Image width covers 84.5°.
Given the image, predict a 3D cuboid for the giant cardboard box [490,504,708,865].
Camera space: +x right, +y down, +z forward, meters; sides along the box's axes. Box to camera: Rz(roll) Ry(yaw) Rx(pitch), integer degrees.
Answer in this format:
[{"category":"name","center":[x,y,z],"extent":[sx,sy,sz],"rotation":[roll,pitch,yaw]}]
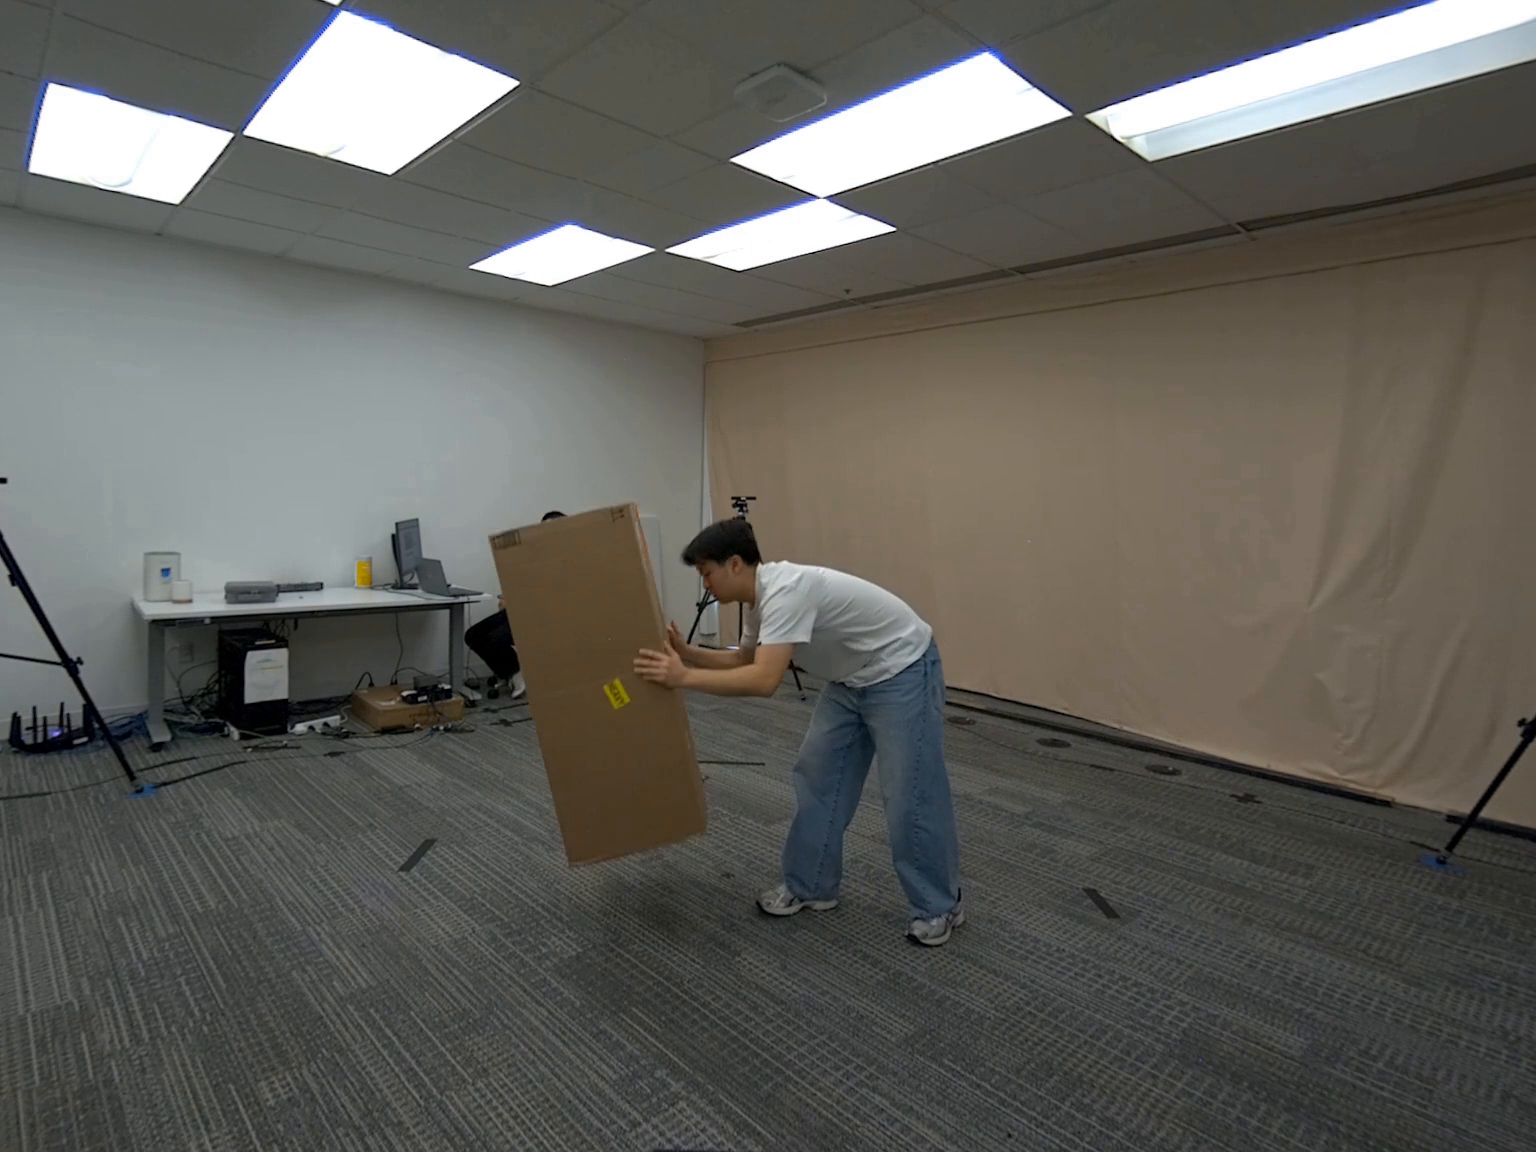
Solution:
[{"category":"giant cardboard box","center":[-0.527,0.297,2.764],"extent":[0.425,1.023,0.580],"rotation":[-13,3,-4]}]
